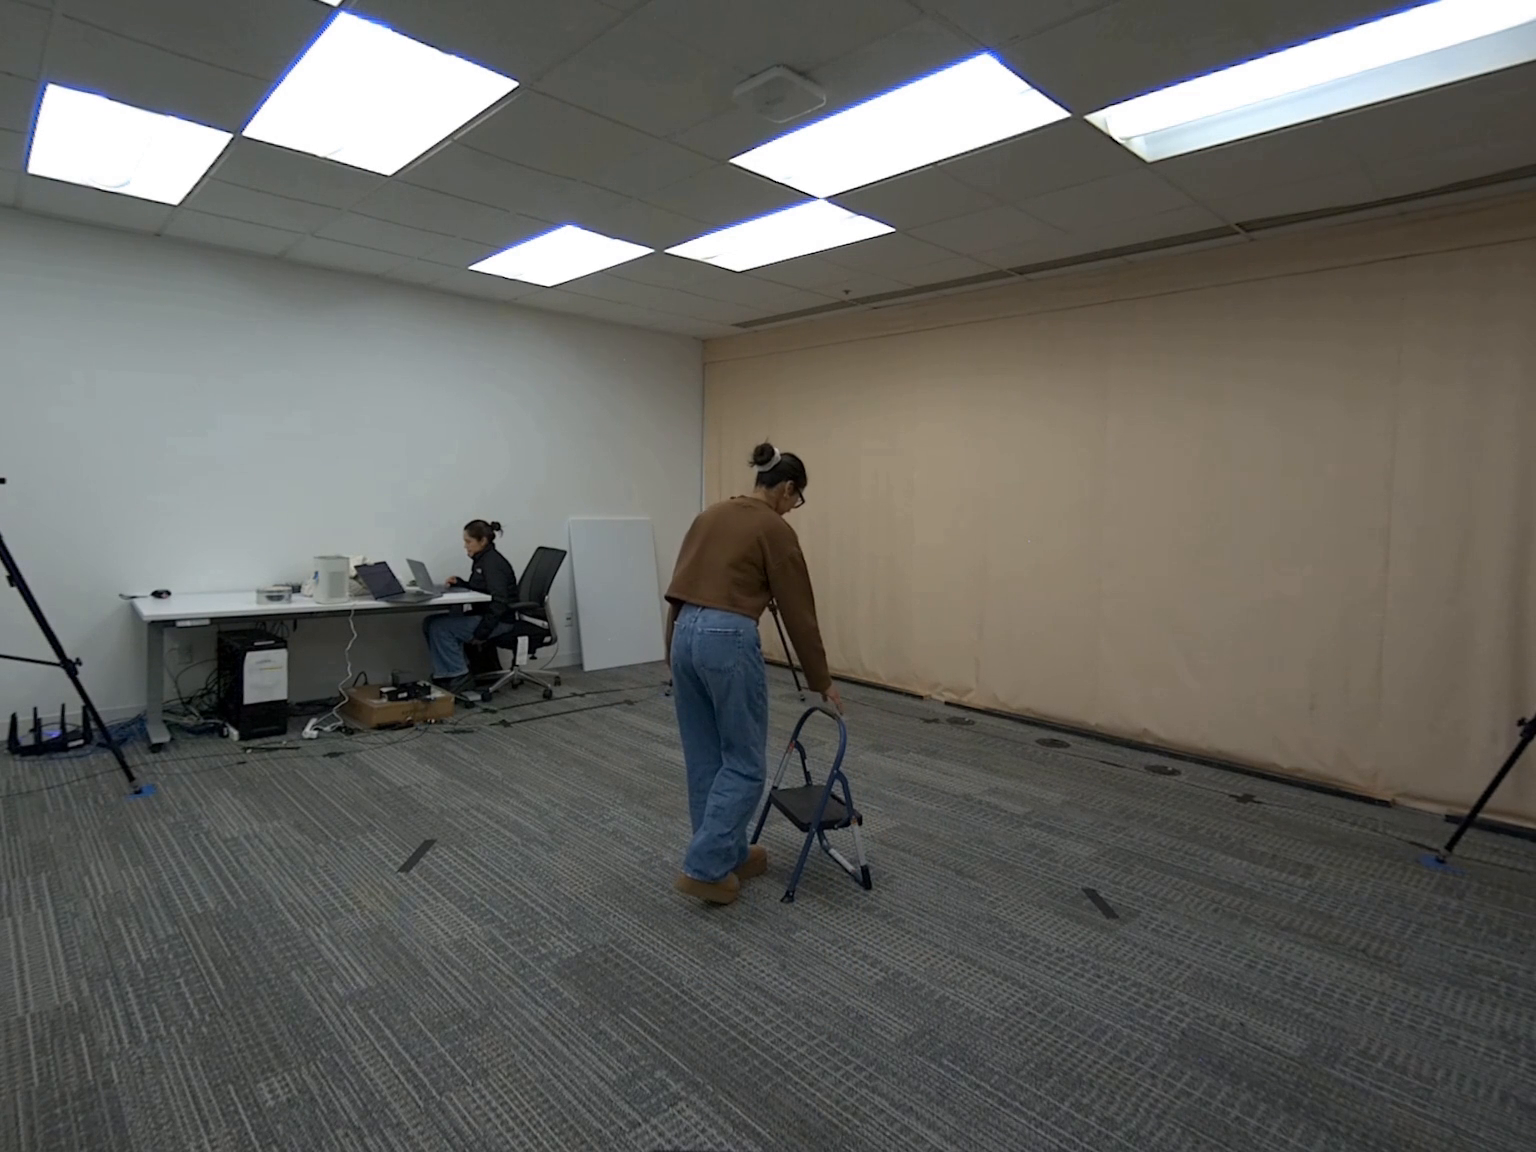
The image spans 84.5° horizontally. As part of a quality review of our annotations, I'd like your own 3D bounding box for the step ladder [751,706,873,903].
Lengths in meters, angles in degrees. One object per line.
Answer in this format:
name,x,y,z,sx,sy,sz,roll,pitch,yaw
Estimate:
step ladder,0.139,0.807,3.138,0.344,0.605,0.438,0,4,-20
